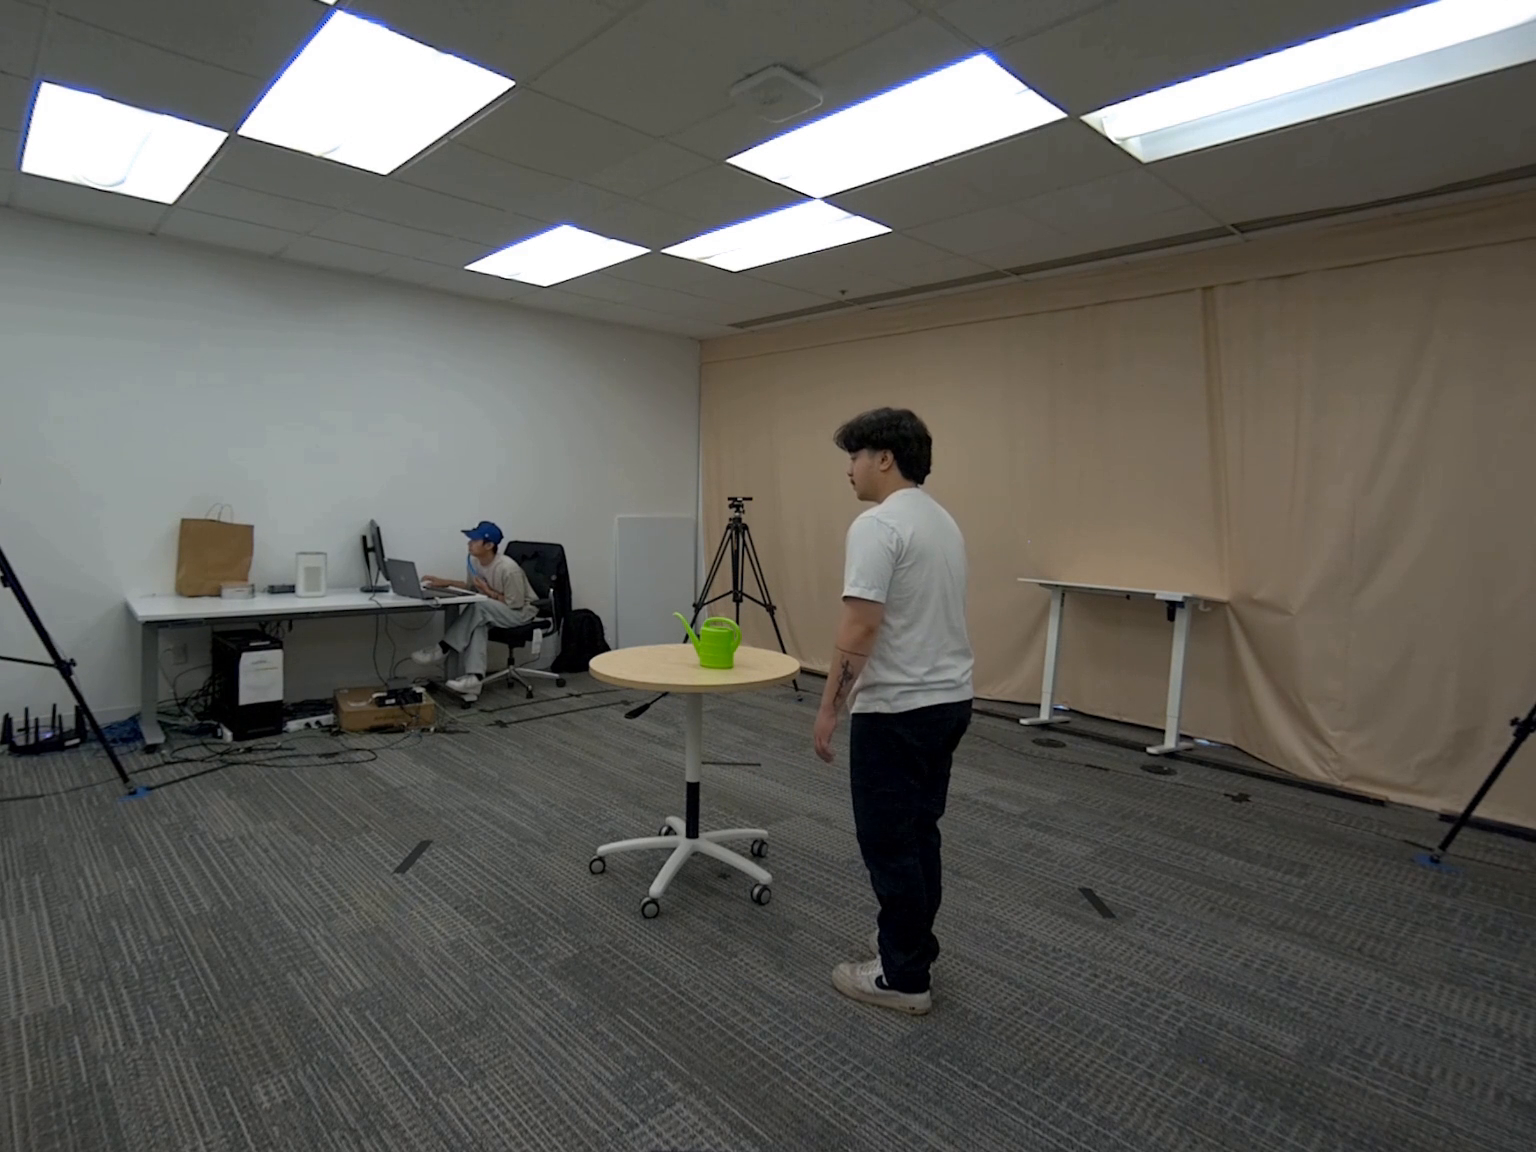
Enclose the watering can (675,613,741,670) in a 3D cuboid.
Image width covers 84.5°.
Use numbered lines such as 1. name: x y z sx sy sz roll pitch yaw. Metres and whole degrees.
1. watering can: -0.226 0.234 3.026 0.285 0.176 0.096 7 8 41
